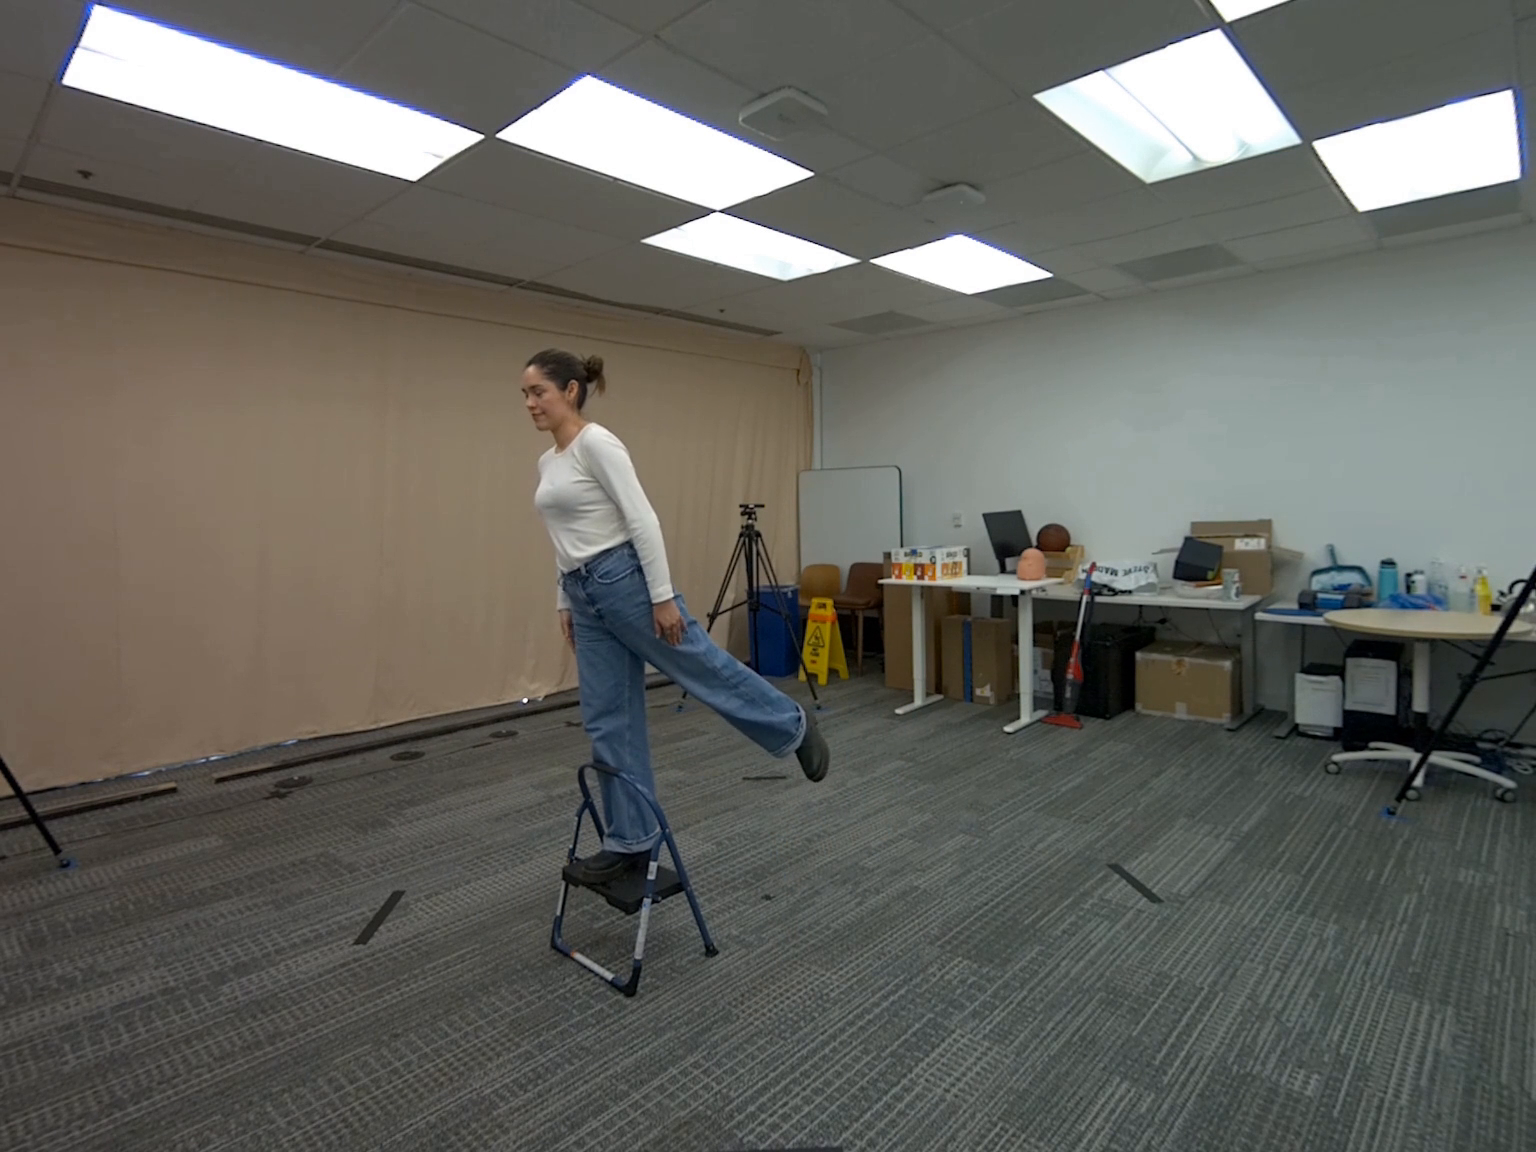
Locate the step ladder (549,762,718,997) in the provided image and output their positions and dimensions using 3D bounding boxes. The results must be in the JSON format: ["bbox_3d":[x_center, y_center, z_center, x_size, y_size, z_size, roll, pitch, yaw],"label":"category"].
[{"bbox_3d":[-0.430,0.877,2.633,0.445,0.605,0.339,2,5,43],"label":"step ladder"}]
